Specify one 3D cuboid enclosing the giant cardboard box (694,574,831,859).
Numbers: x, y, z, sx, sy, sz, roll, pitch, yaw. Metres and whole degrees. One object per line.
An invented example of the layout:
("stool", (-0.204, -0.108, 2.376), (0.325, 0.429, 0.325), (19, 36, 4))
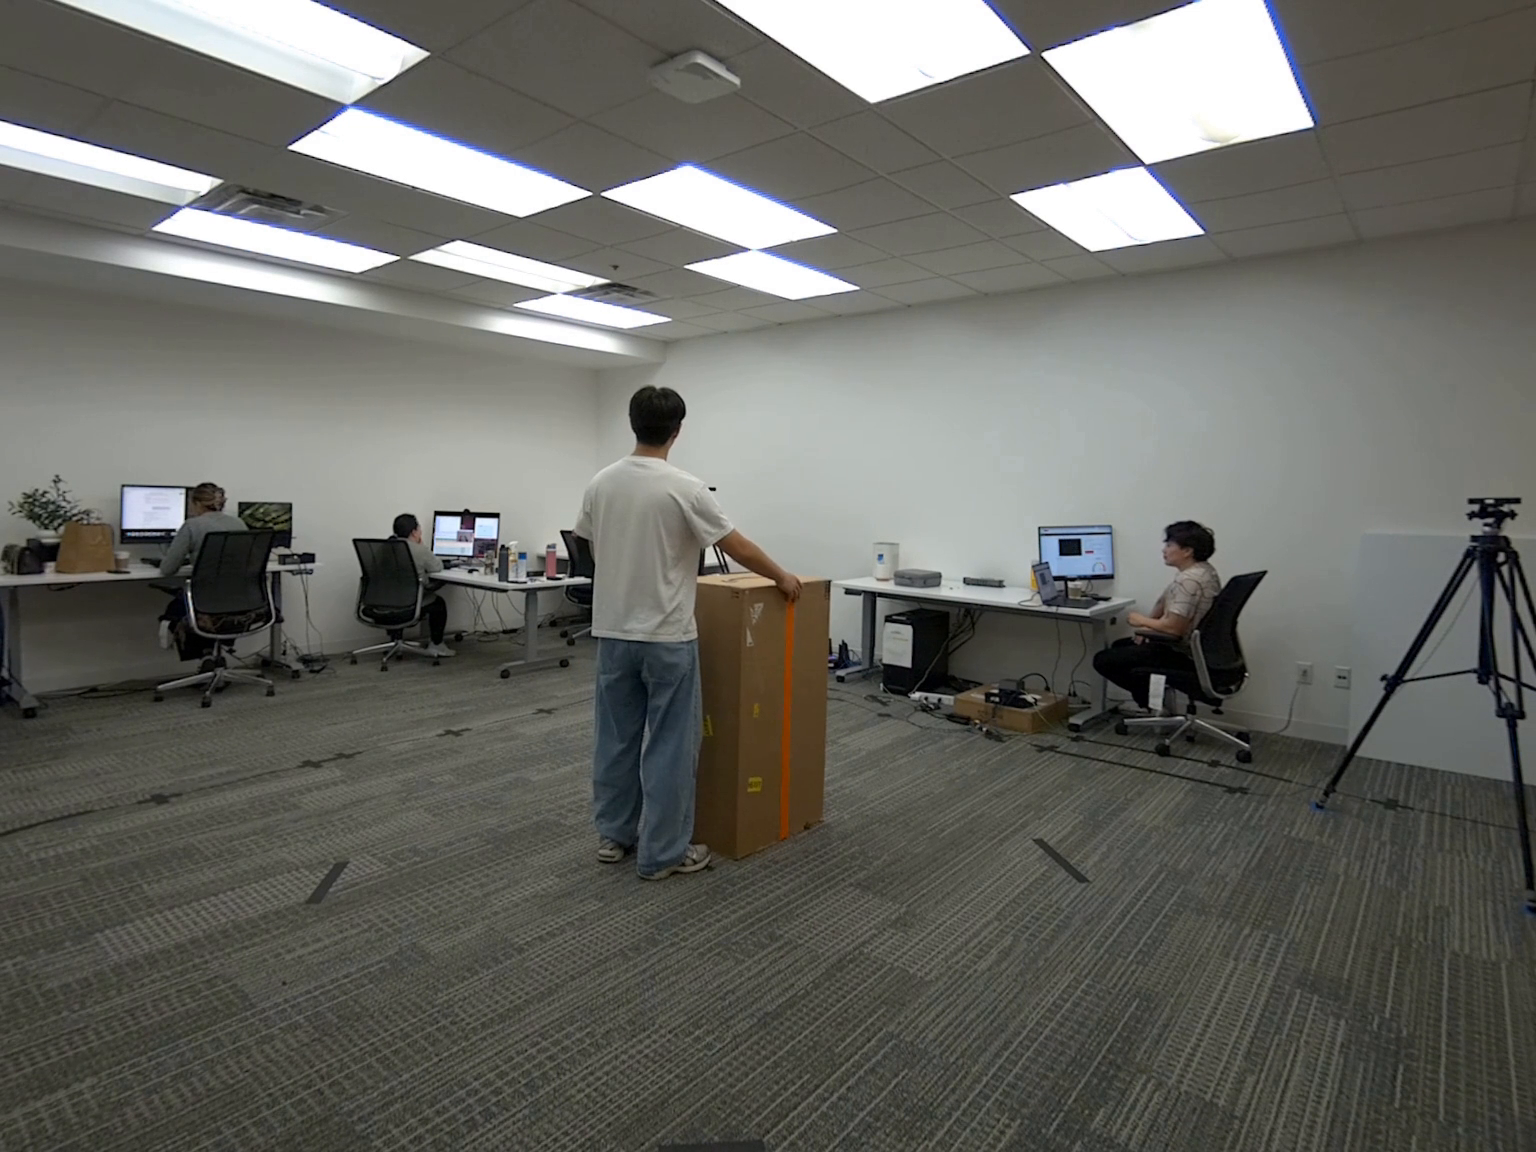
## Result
("giant cardboard box", (-0.095, 0.519, 3.507), (0.441, 1.023, 0.560), (4, 4, 41))
